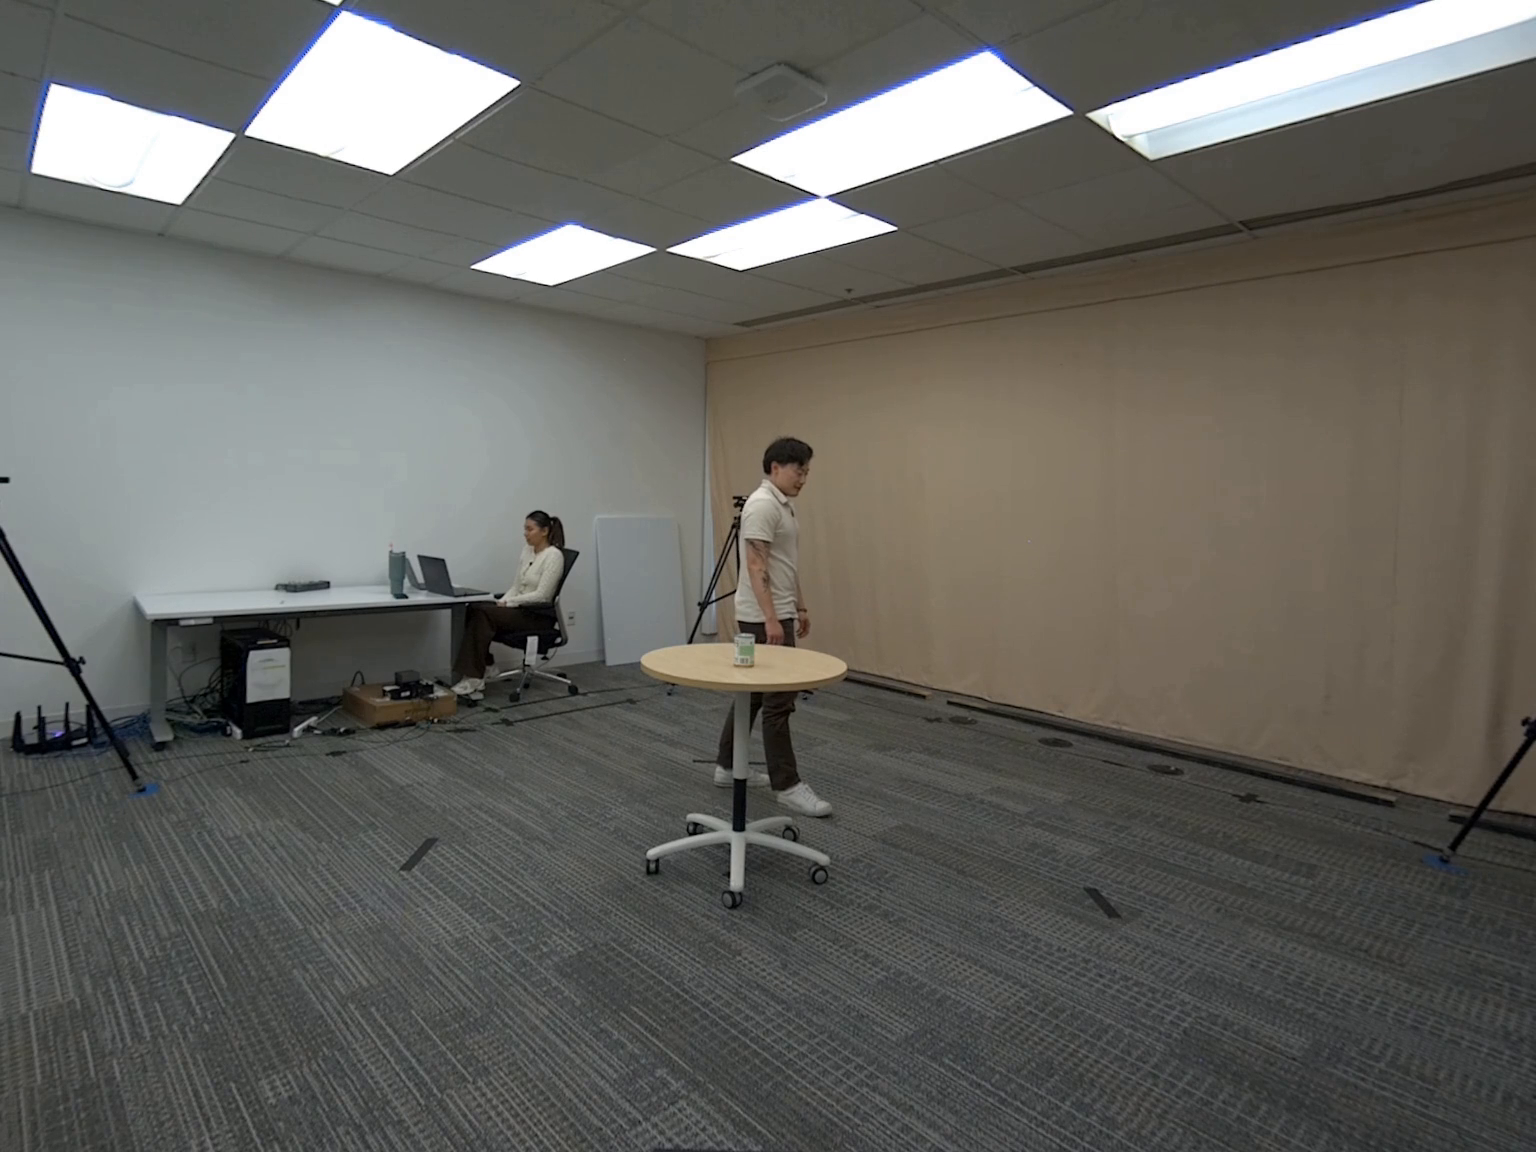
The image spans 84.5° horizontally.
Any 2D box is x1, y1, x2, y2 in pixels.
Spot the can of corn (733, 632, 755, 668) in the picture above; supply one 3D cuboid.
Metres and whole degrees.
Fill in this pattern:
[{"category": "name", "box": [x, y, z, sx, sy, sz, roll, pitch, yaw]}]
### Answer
[{"category": "can of corn", "box": [-0.096, 0.269, 3.048, 0.074, 0.111, 0.074, 4, 5, -2]}]
